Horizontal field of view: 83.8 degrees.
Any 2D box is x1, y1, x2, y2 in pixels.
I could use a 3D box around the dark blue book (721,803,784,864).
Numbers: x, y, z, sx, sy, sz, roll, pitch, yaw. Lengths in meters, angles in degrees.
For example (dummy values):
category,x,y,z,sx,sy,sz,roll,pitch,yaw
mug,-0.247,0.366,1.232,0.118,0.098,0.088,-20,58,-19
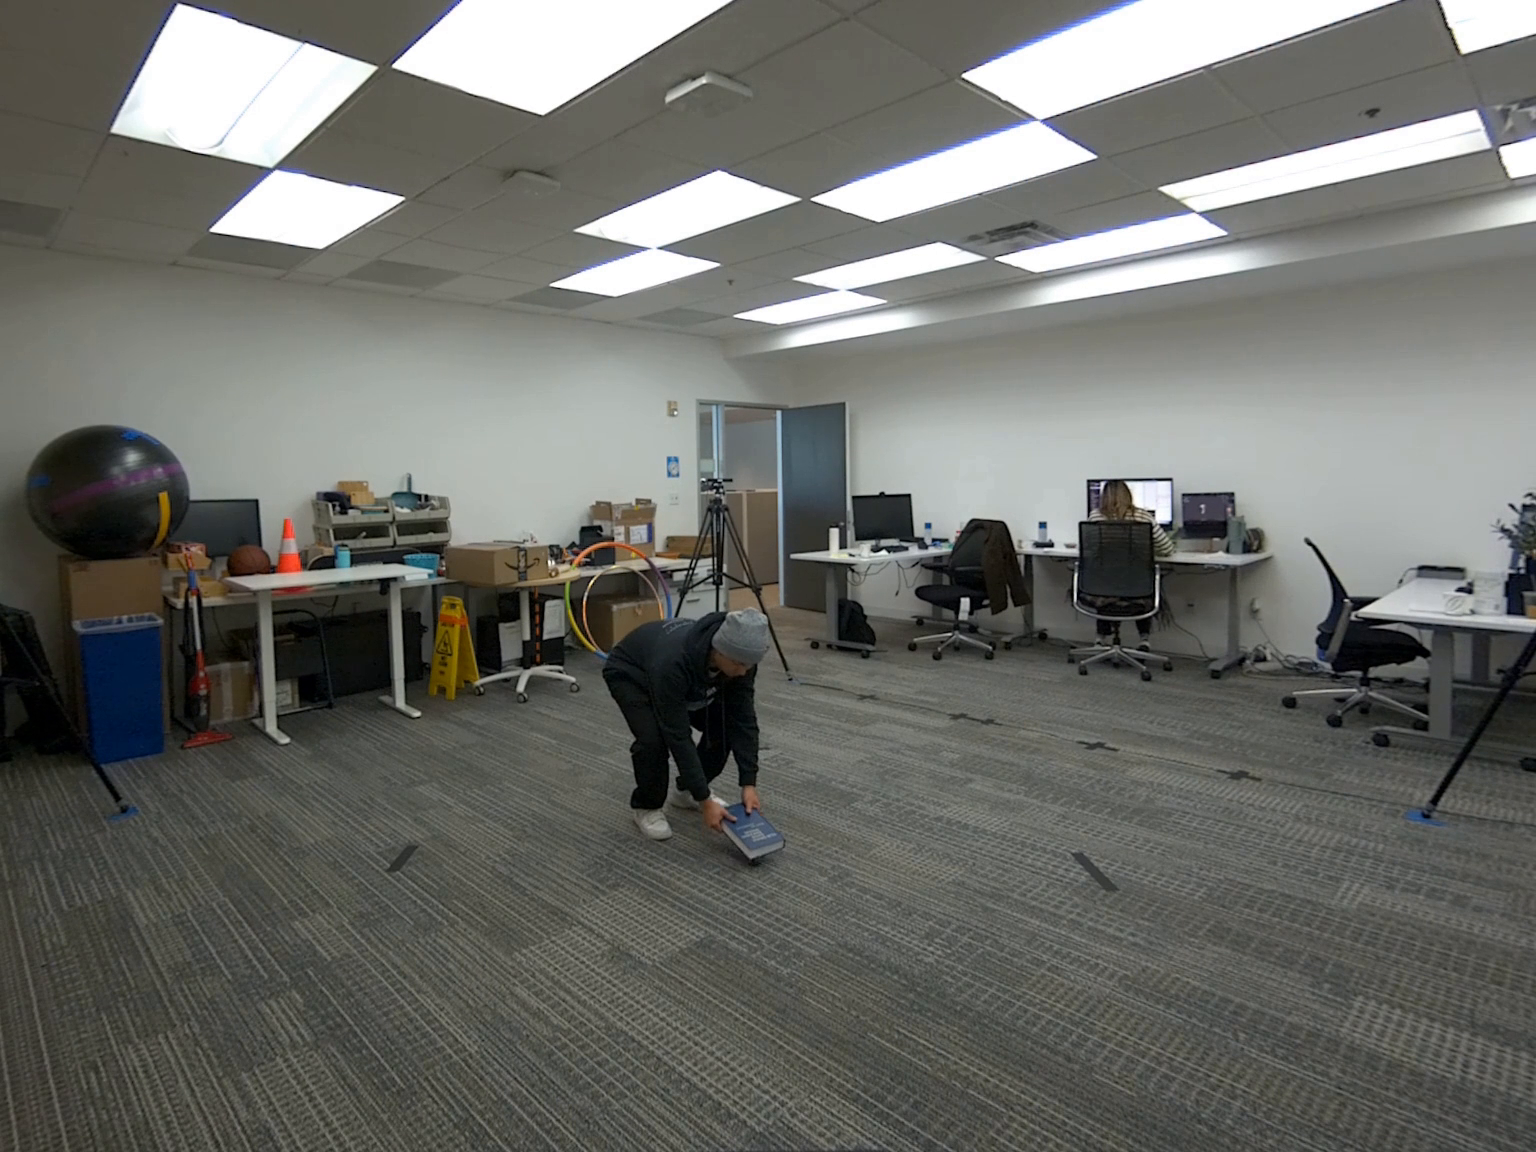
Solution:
category,x,y,z,sx,sy,sz,roll,pitch,yaw
dark blue book,-0.051,0.946,3.153,0.159,0.044,0.254,-5,23,-32
